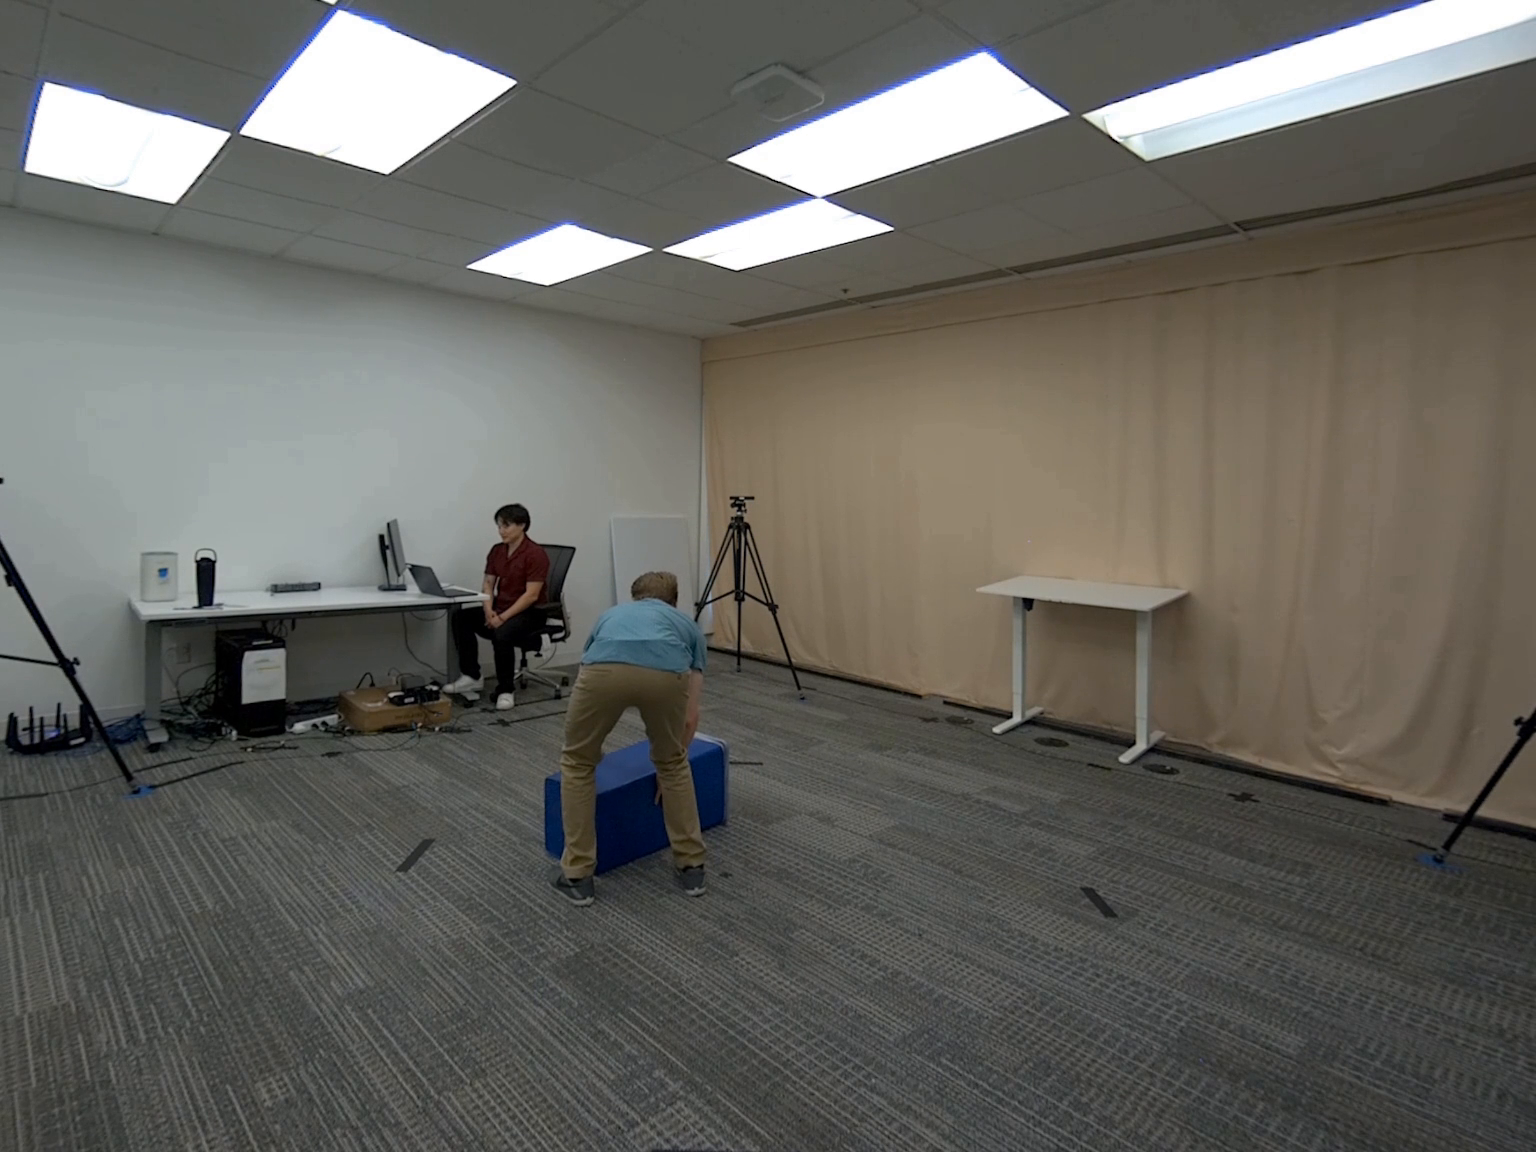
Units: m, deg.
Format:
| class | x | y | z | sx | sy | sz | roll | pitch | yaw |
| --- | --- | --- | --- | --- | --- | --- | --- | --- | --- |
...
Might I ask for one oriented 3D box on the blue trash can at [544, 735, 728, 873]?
| class | x | y | z | sx | sy | sz | roll | pitch | yaw |
| --- | --- | --- | --- | --- | --- | --- | --- | --- | --- |
| blue trash can | -0.525 | 0.901 | 3.414 | 0.383 | 0.376 | 0.699 | 5 | 9 | 38 |
